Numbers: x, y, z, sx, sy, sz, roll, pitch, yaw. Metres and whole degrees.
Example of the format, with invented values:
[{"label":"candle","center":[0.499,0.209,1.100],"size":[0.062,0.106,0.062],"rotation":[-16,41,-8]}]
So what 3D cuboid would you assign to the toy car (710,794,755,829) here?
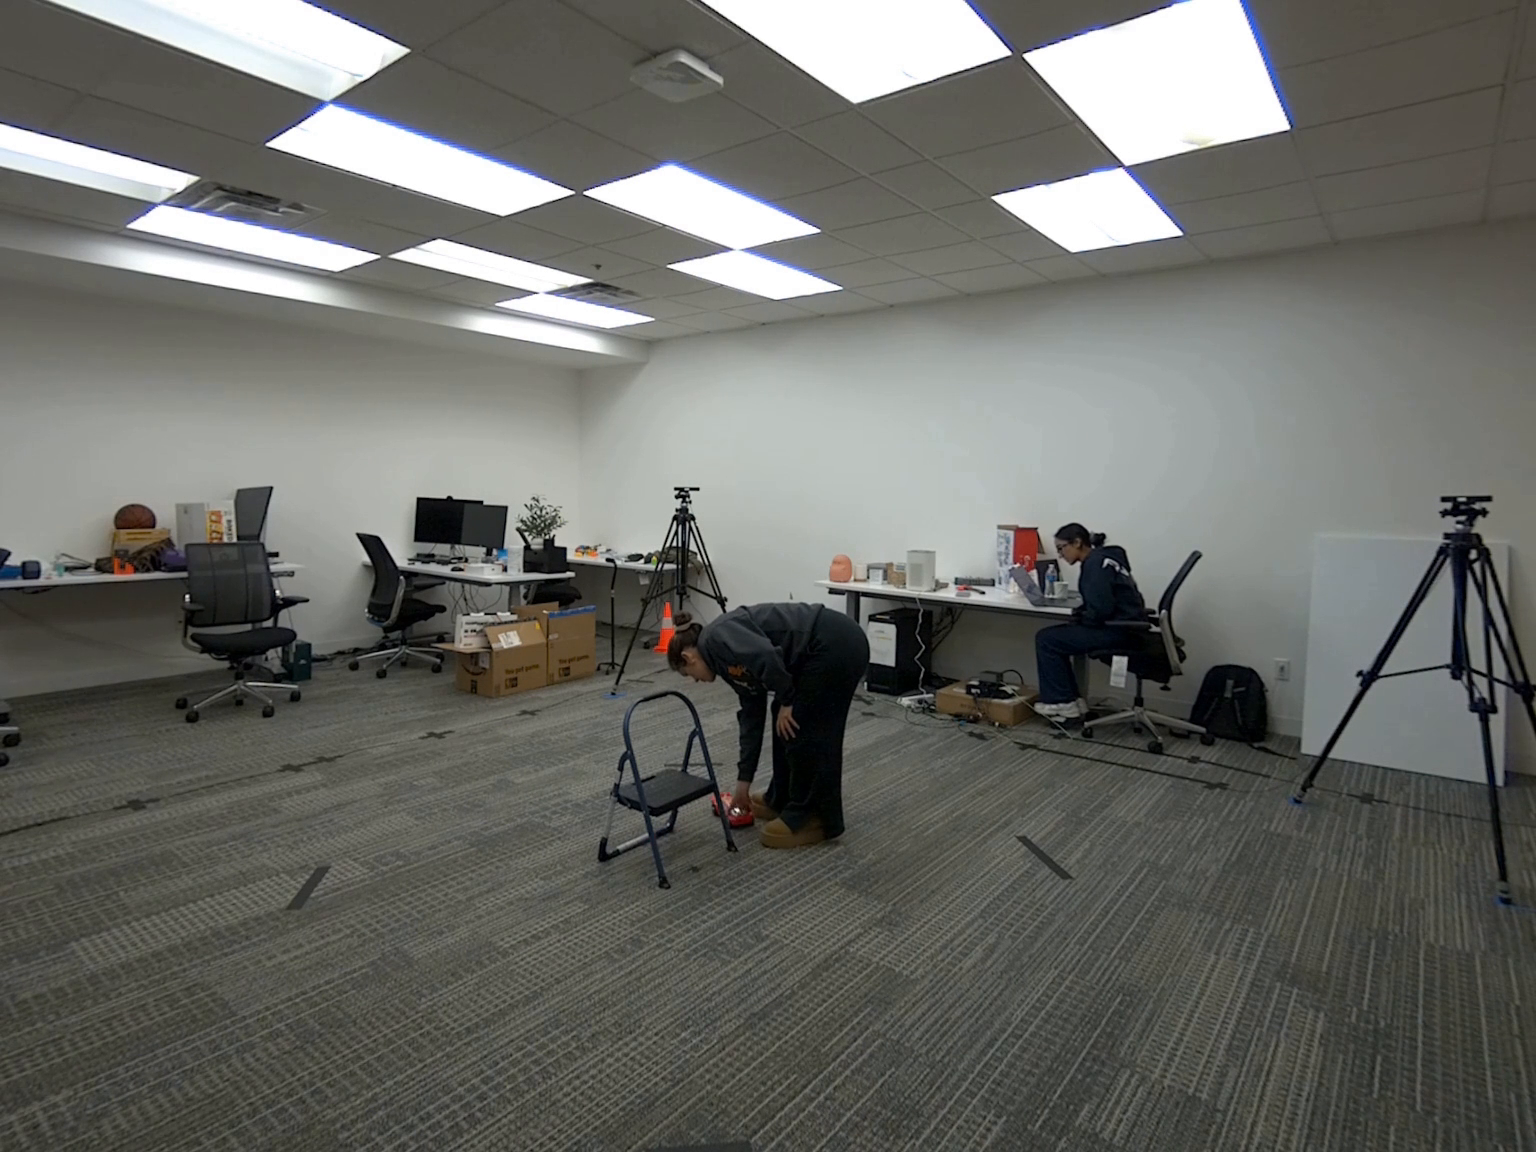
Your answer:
[{"label":"toy car","center":[-0.165,0.991,3.588],"size":[0.127,0.082,0.264],"rotation":[-2,17,-24]}]
